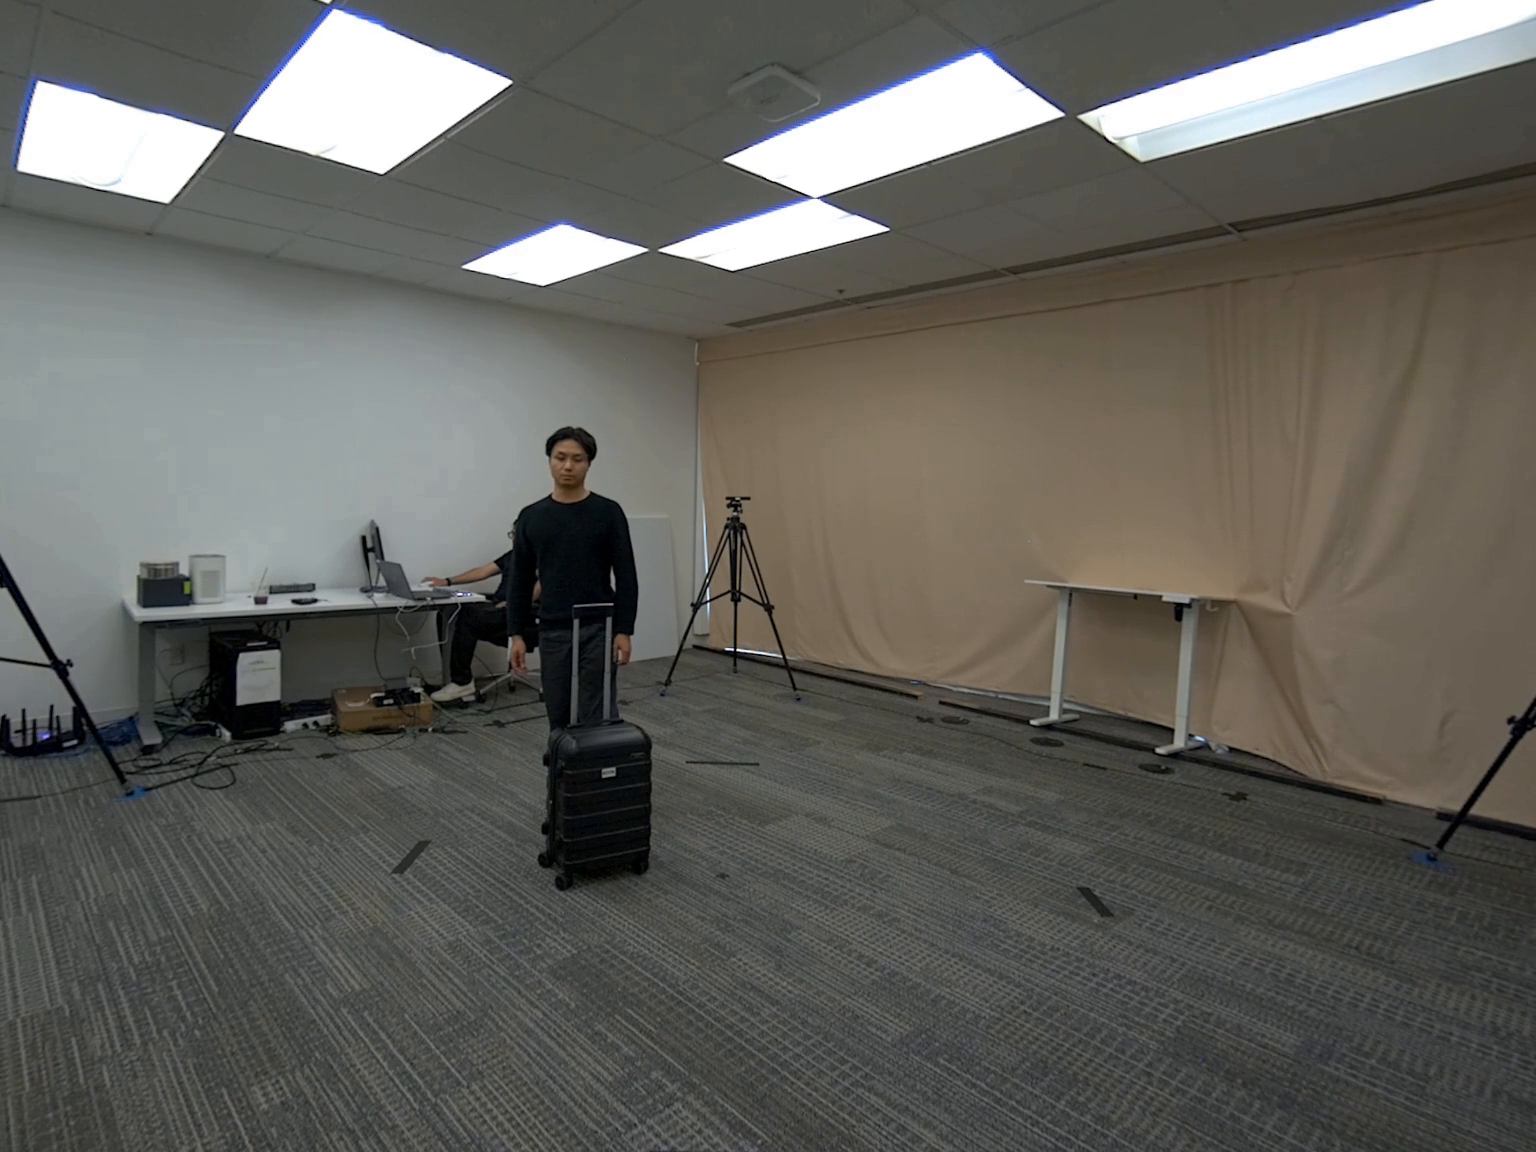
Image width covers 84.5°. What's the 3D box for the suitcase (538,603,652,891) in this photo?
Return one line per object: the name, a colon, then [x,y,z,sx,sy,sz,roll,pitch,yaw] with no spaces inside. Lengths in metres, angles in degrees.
suitcase: [-0.623,0.622,3.090,0.376,0.975,0.263,0,5,-30]
